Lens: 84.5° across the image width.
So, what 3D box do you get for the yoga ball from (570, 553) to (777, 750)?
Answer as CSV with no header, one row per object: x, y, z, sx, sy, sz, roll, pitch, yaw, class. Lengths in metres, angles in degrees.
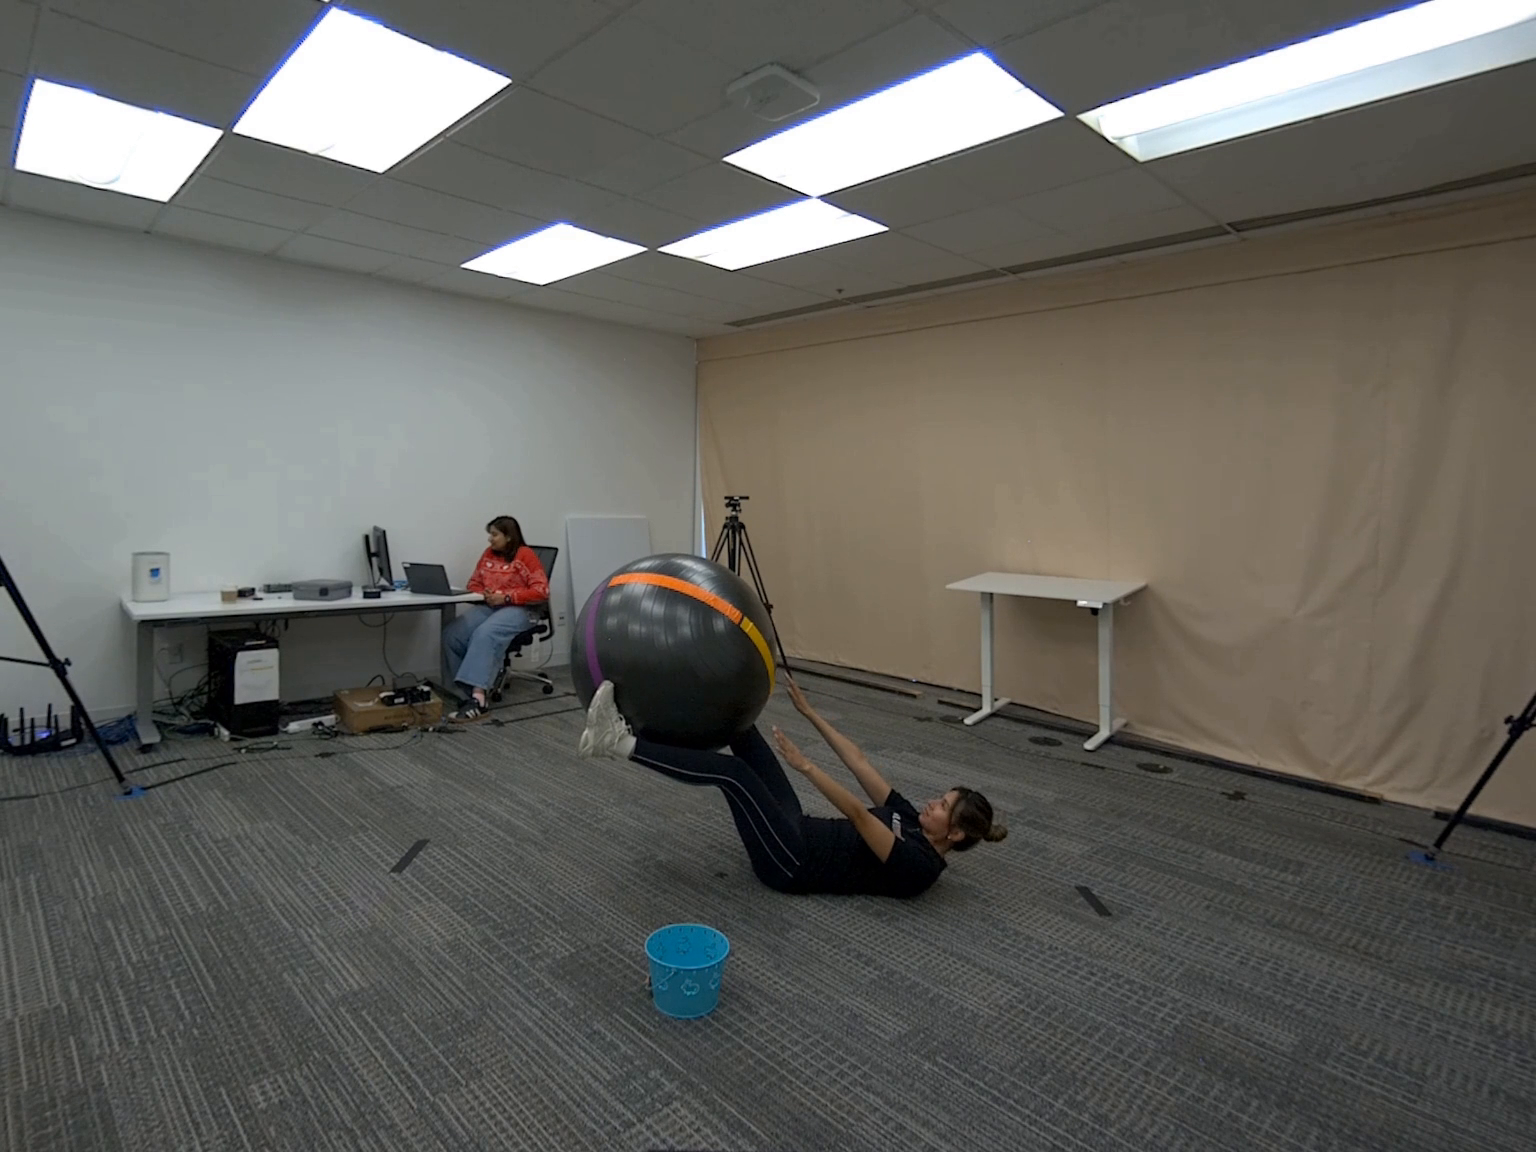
-0.344,0.298,3.107,0.757,0.756,0.761,1,4,-1,yoga ball
